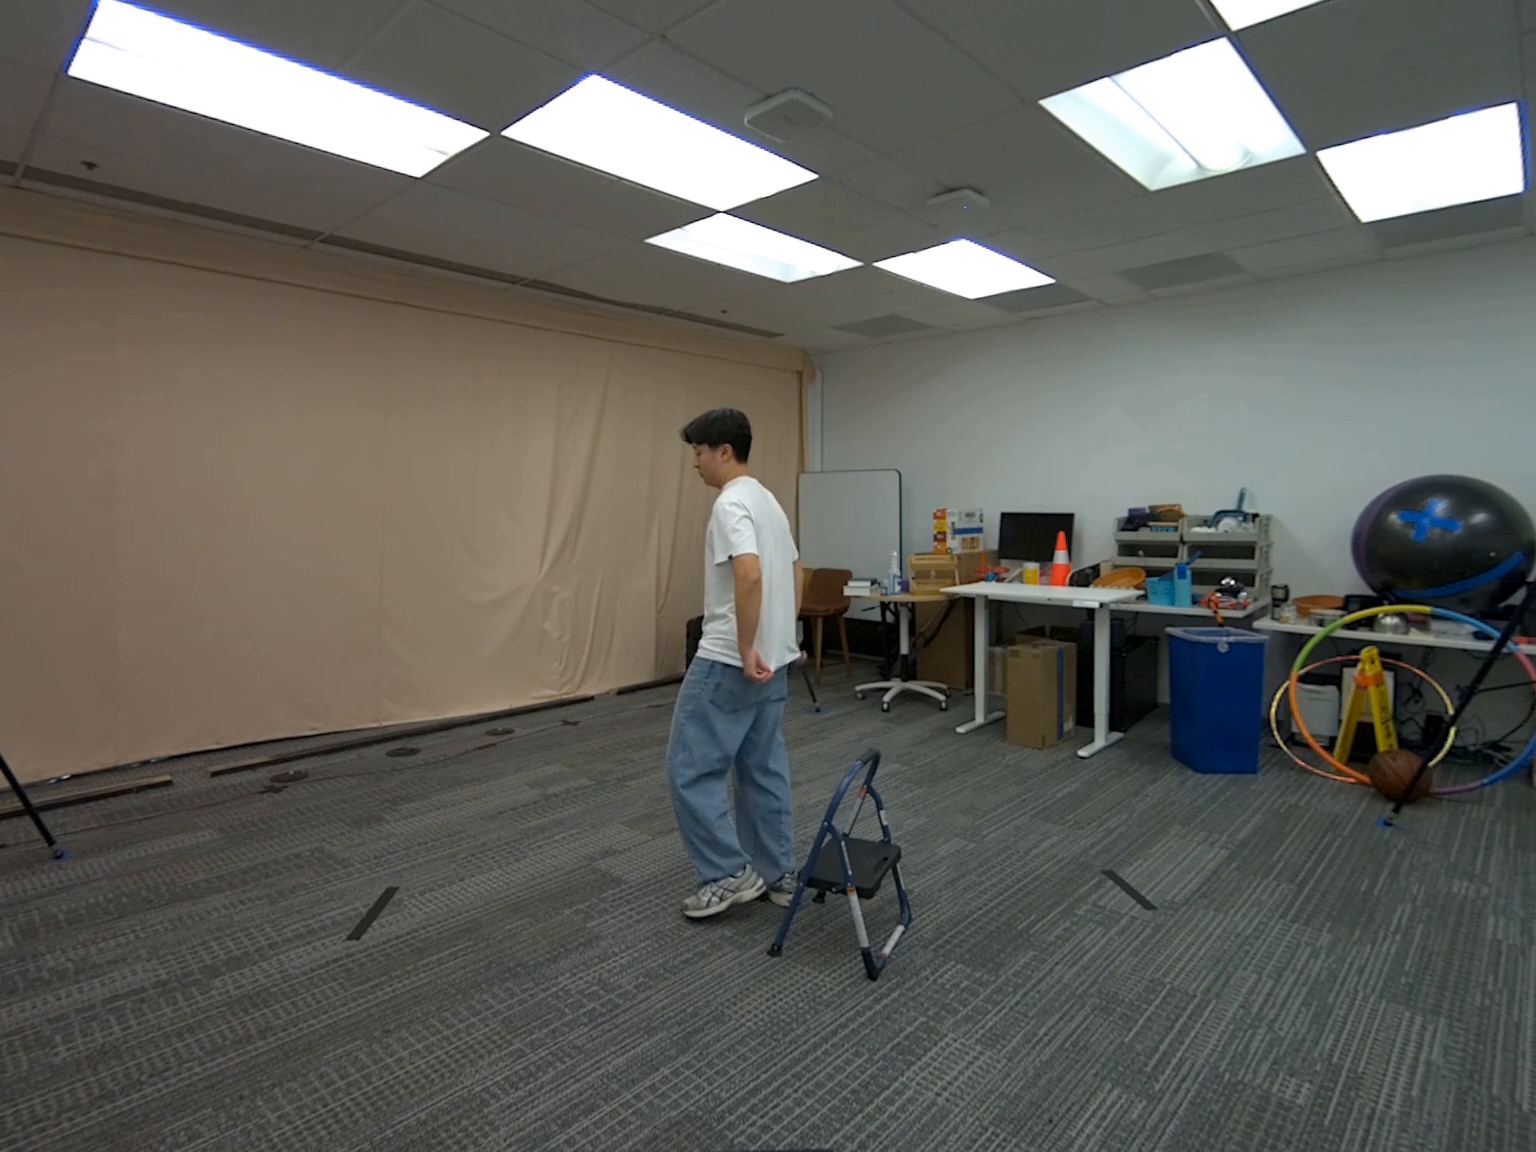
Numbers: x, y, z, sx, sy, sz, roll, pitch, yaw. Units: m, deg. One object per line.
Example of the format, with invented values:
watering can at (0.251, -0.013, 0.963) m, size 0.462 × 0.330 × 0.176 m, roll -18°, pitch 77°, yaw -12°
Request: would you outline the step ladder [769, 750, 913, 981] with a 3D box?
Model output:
step ladder at (0.245, 0.863, 2.698) m, size 0.358 × 0.604 × 0.420 m, roll 2°, pitch 4°, yaw 25°
